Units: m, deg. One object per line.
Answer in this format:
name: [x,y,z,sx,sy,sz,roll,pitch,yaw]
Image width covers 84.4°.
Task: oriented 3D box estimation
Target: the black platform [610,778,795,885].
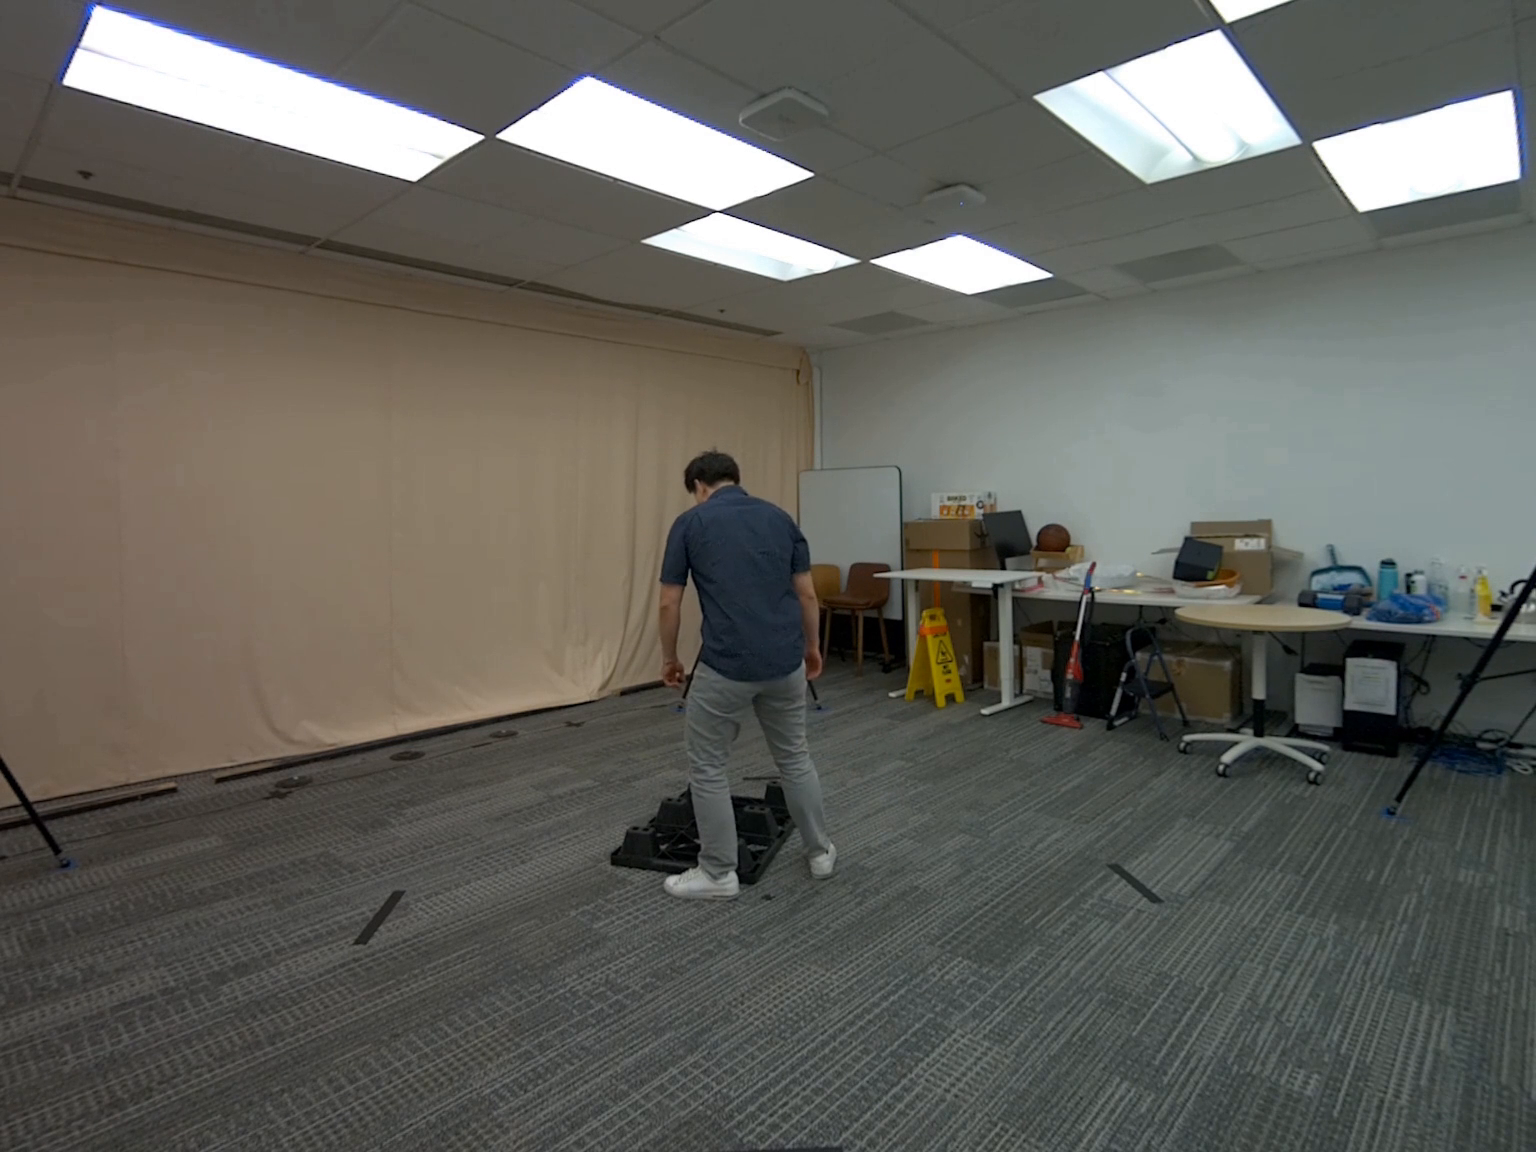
black platform: [-0.225,1.029,3.552,0.617,0.143,0.792,1,5,18]
